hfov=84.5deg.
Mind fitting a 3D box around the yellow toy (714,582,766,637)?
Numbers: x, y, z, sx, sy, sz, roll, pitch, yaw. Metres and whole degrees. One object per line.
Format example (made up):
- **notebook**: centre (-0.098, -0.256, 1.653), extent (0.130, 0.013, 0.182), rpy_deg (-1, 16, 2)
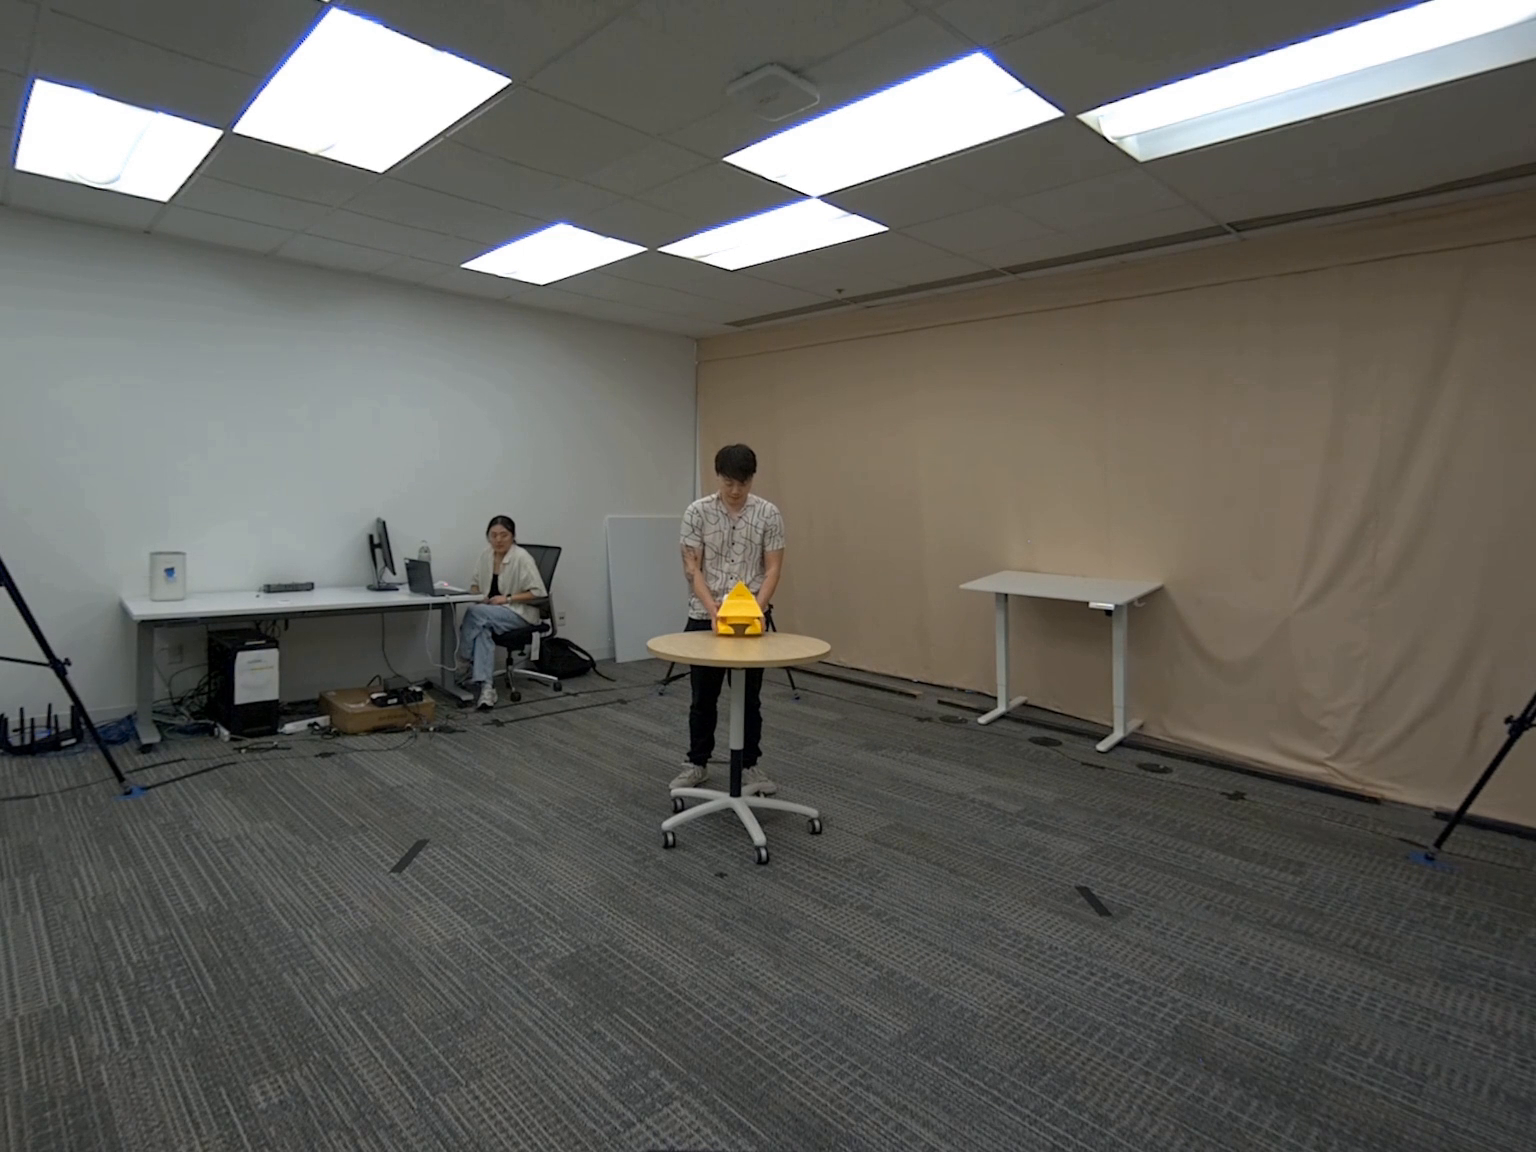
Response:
- **yellow toy**: centre (-0.138, 0.134, 3.733), extent (0.204, 0.230, 0.194), rpy_deg (1, 2, -5)
